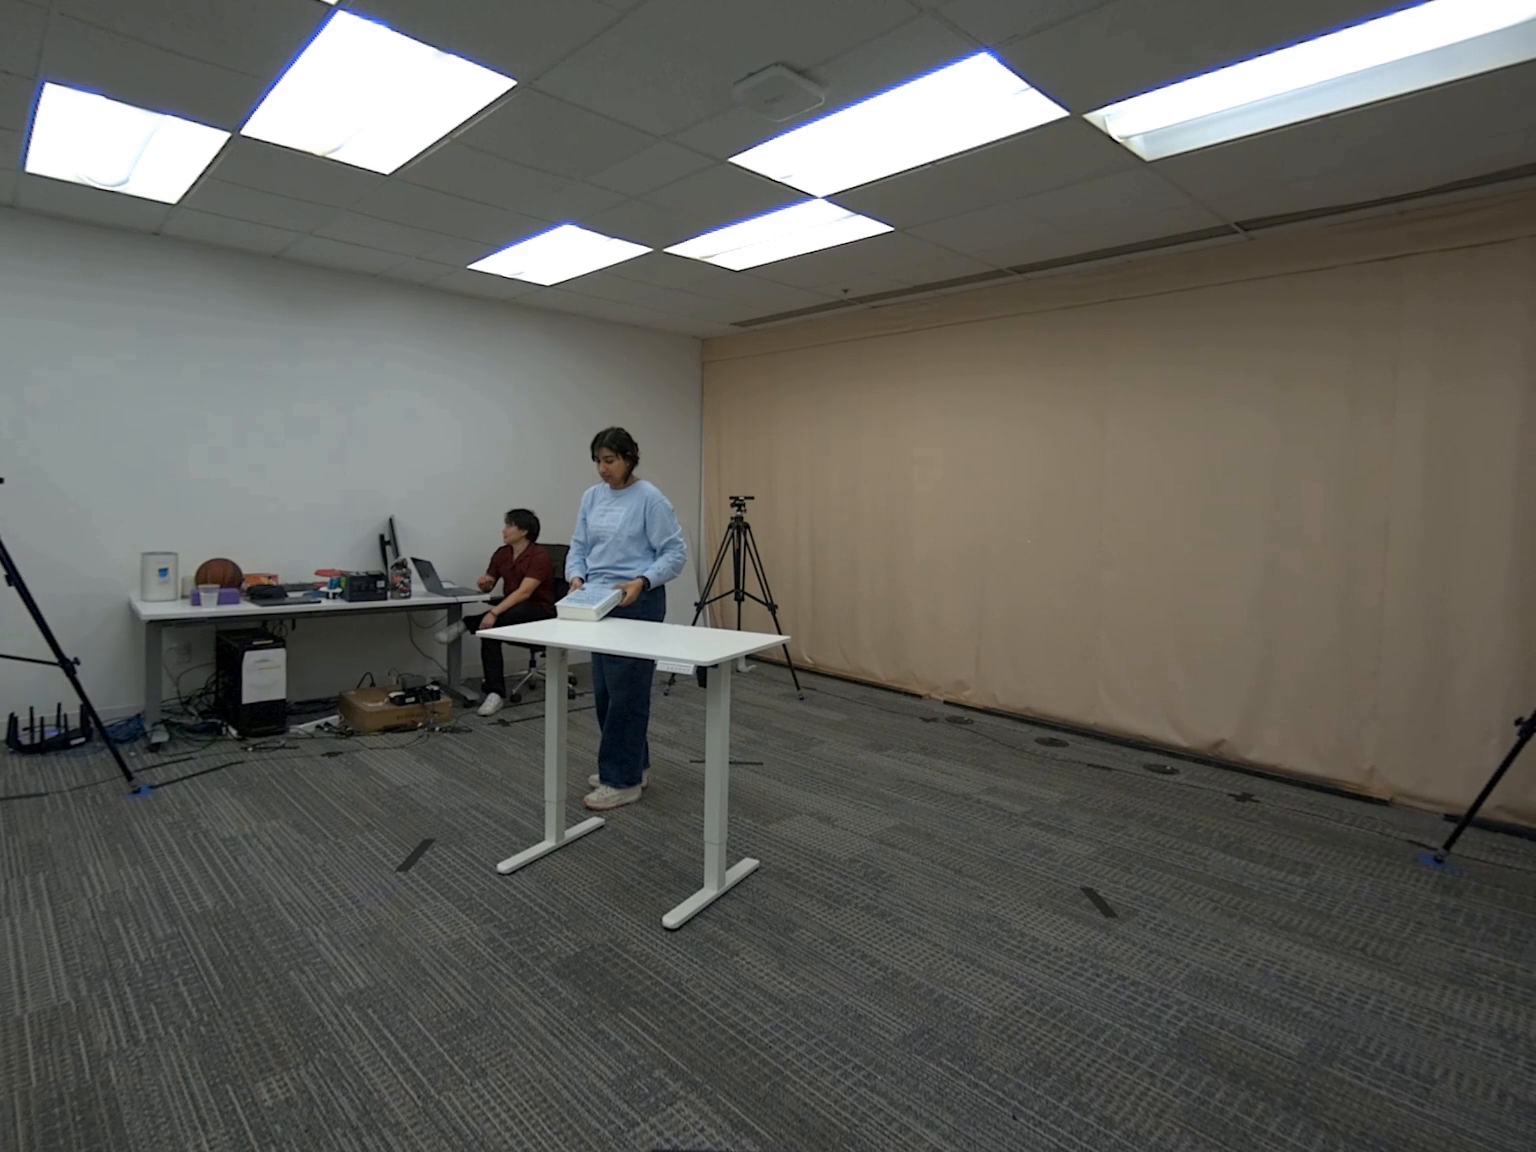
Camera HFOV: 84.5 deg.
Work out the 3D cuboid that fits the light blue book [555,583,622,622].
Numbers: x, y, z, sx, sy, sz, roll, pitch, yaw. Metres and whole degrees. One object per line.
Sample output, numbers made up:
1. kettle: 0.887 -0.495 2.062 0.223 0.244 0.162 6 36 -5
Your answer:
1. light blue book: -0.778 0.111 3.519 0.194 0.058 0.261 4 19 13
